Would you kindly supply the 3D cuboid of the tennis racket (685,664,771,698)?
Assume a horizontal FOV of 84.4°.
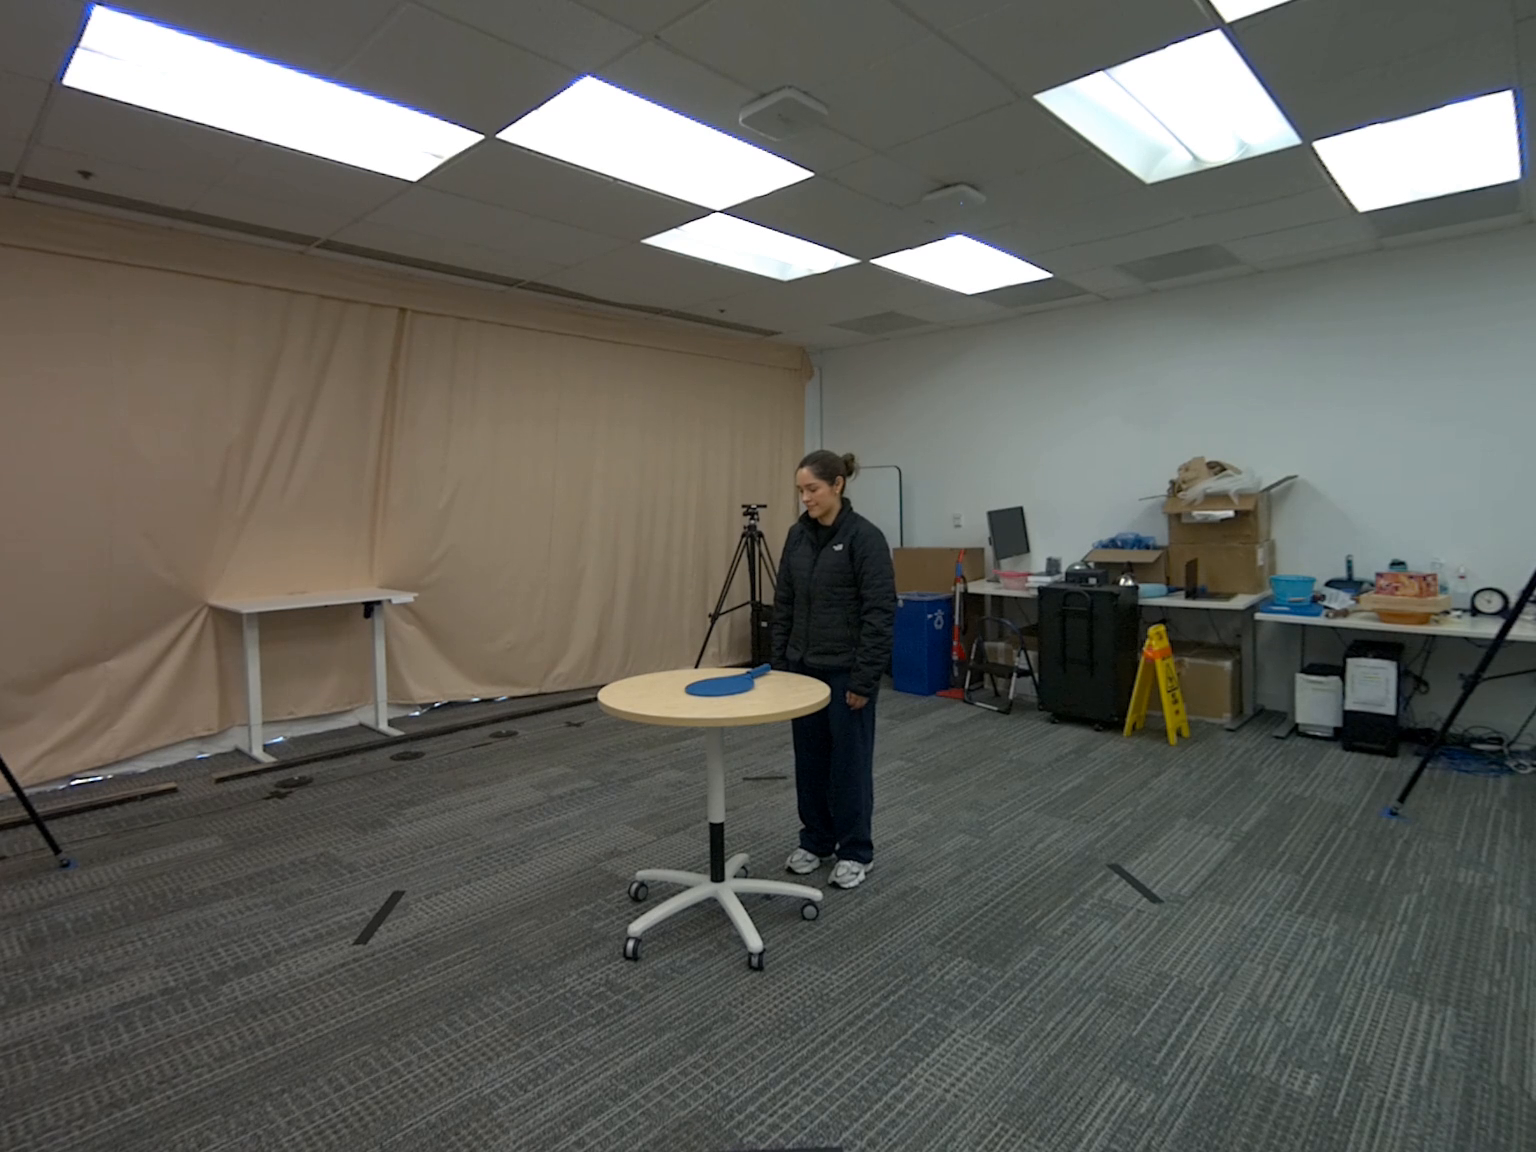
[{"bbox_3d":[-0.112,0.364,2.879,0.220,0.031,0.421,3,8,34],"label":"tennis racket"}]
